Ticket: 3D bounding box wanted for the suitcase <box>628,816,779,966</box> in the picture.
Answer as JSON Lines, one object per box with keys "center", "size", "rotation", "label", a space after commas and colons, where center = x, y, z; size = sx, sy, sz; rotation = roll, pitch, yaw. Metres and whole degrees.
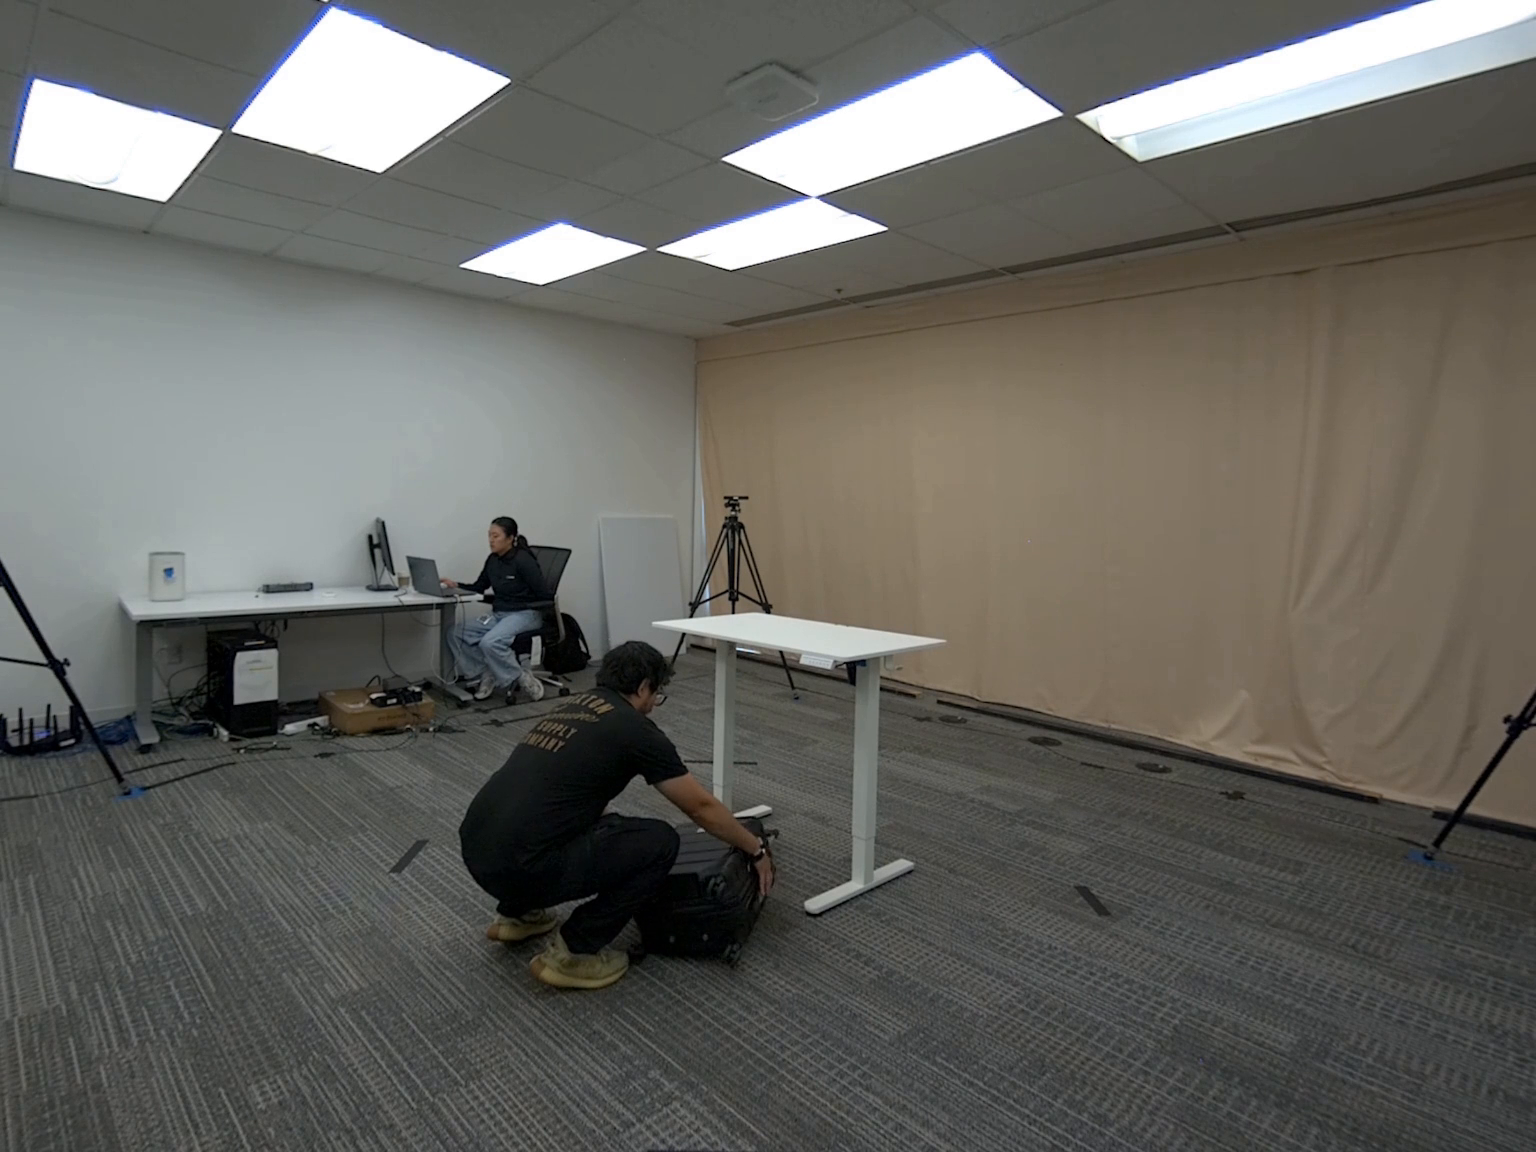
{"center": [-0.165, 0.969, 2.903], "size": [0.387, 0.256, 0.972], "rotation": [-14, 3, 13], "label": "suitcase"}
